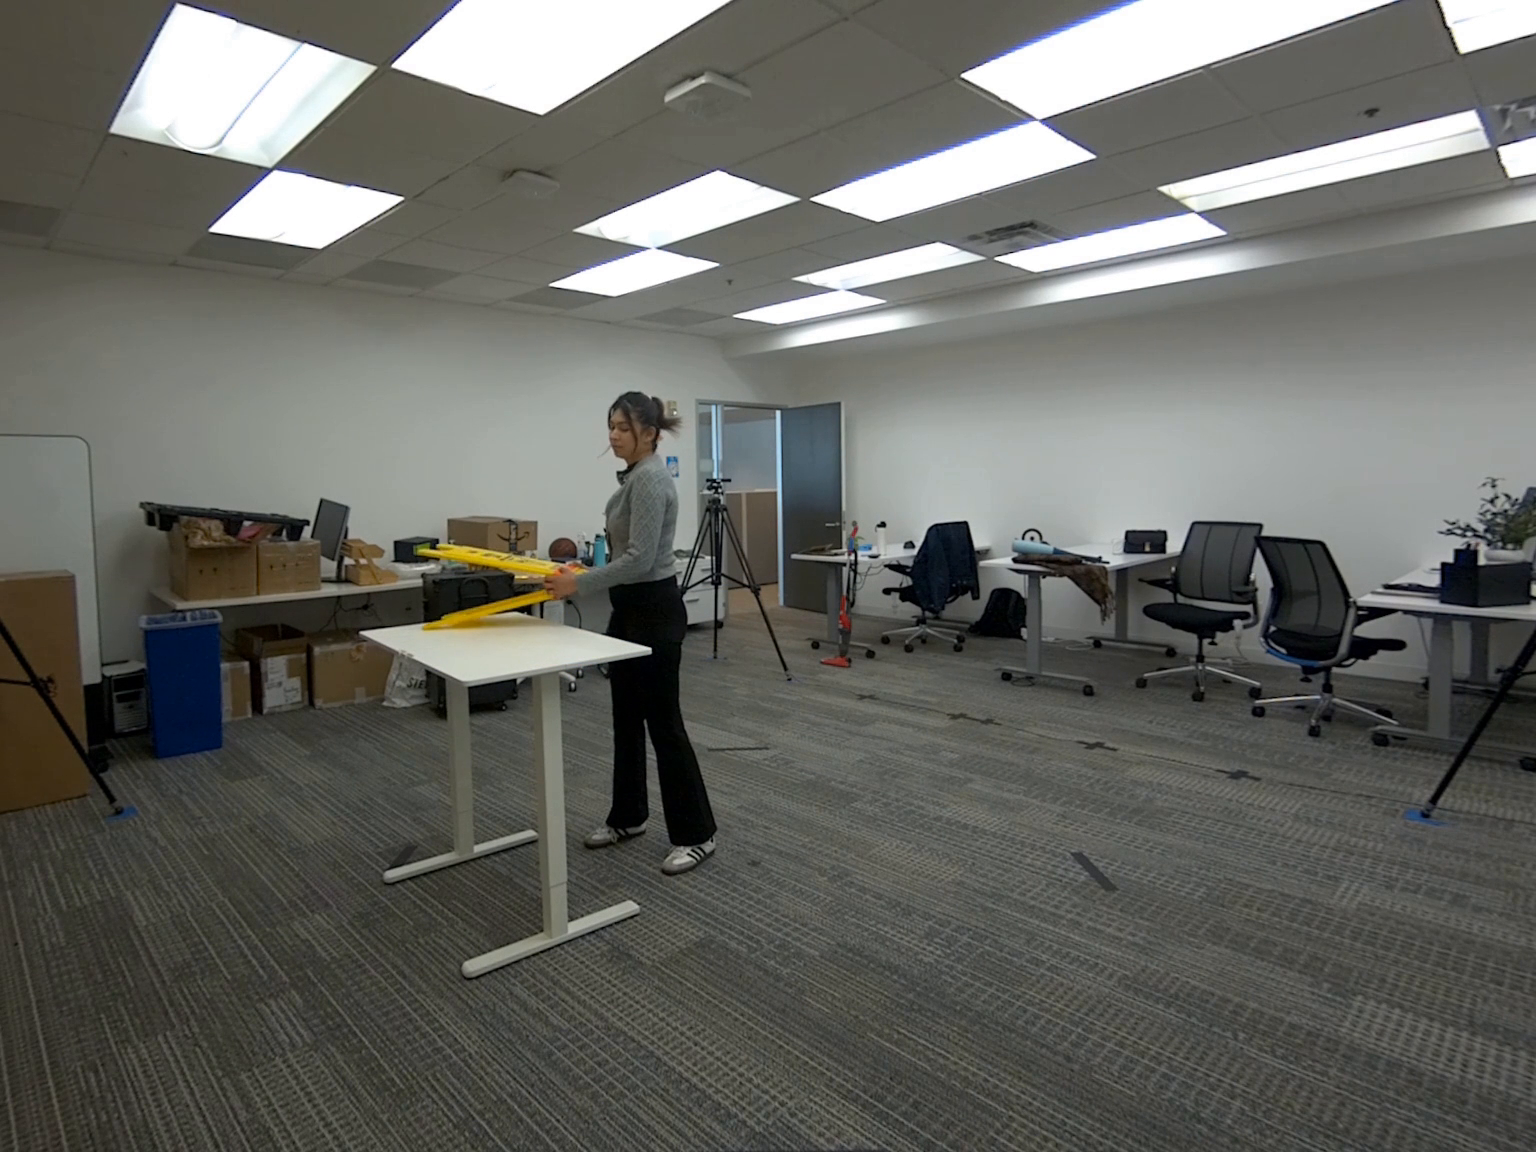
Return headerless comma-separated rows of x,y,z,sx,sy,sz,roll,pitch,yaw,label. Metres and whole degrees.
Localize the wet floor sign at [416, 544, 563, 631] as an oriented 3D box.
-0.937,0.022,3.181,0.645,0.288,0.284,-3,5,-1,wet floor sign
